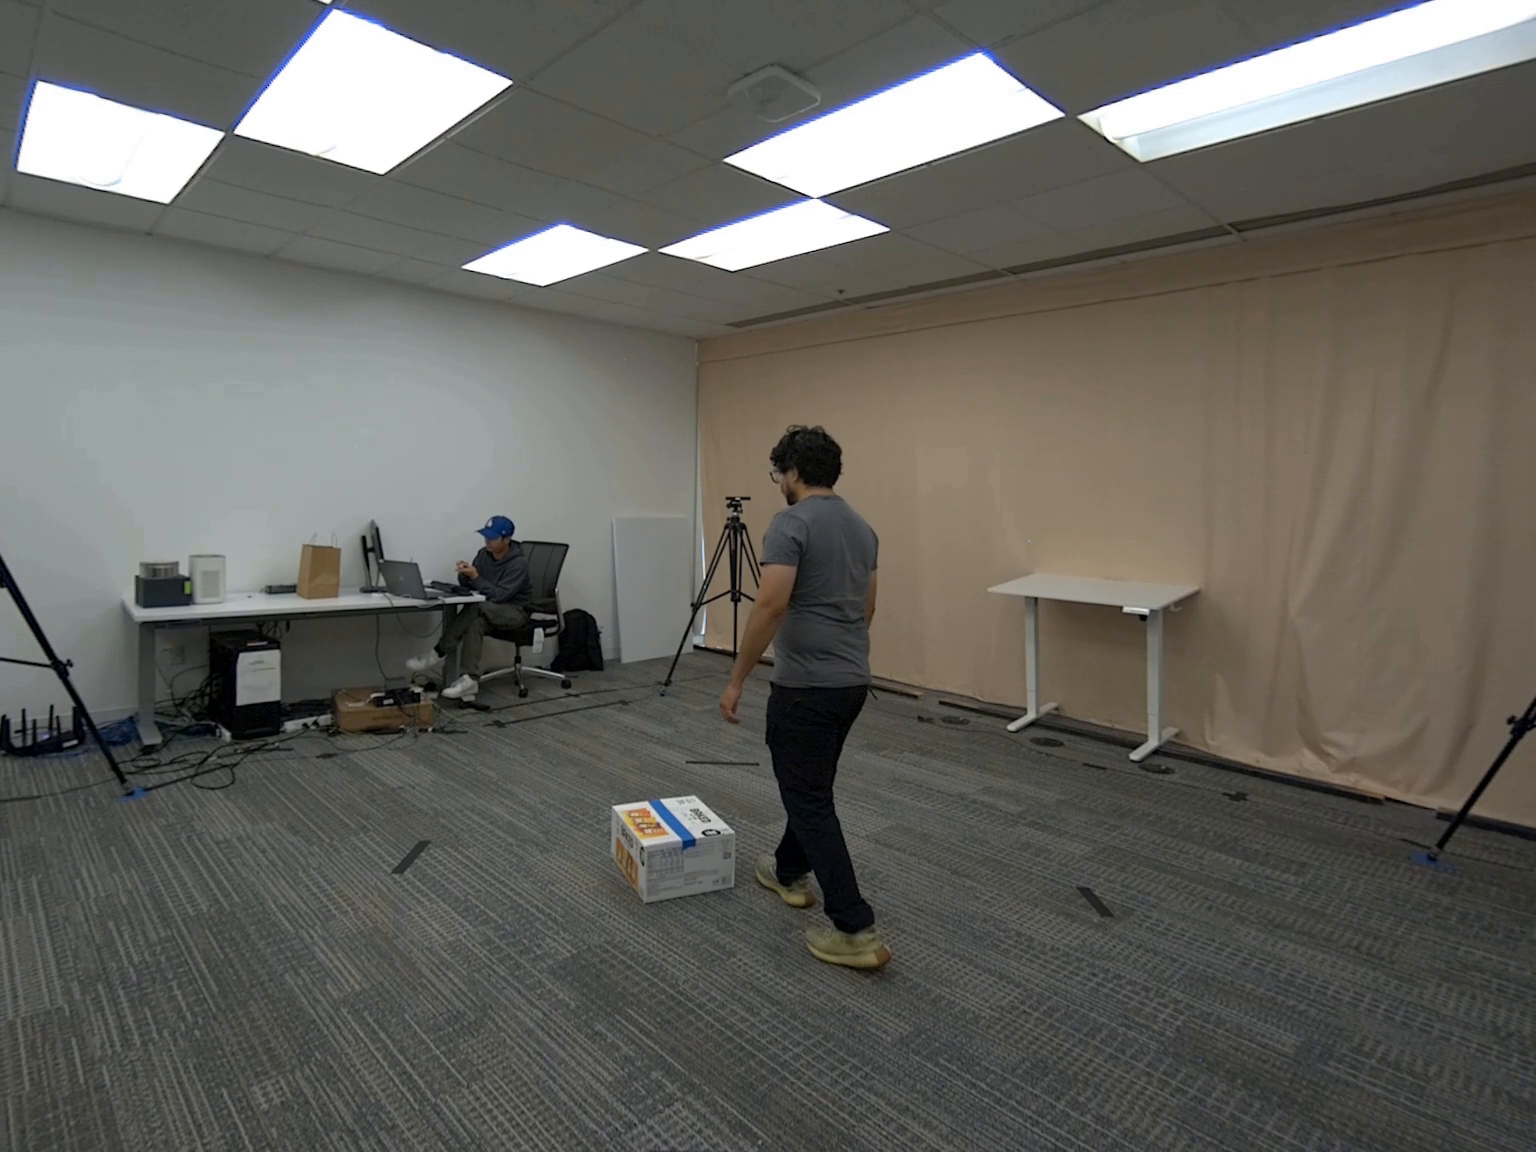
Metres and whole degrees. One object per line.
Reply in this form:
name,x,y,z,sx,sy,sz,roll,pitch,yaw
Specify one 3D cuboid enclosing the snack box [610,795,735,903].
snack box,-0.371,1.002,3.115,0.334,0.205,0.413,-1,5,-25
